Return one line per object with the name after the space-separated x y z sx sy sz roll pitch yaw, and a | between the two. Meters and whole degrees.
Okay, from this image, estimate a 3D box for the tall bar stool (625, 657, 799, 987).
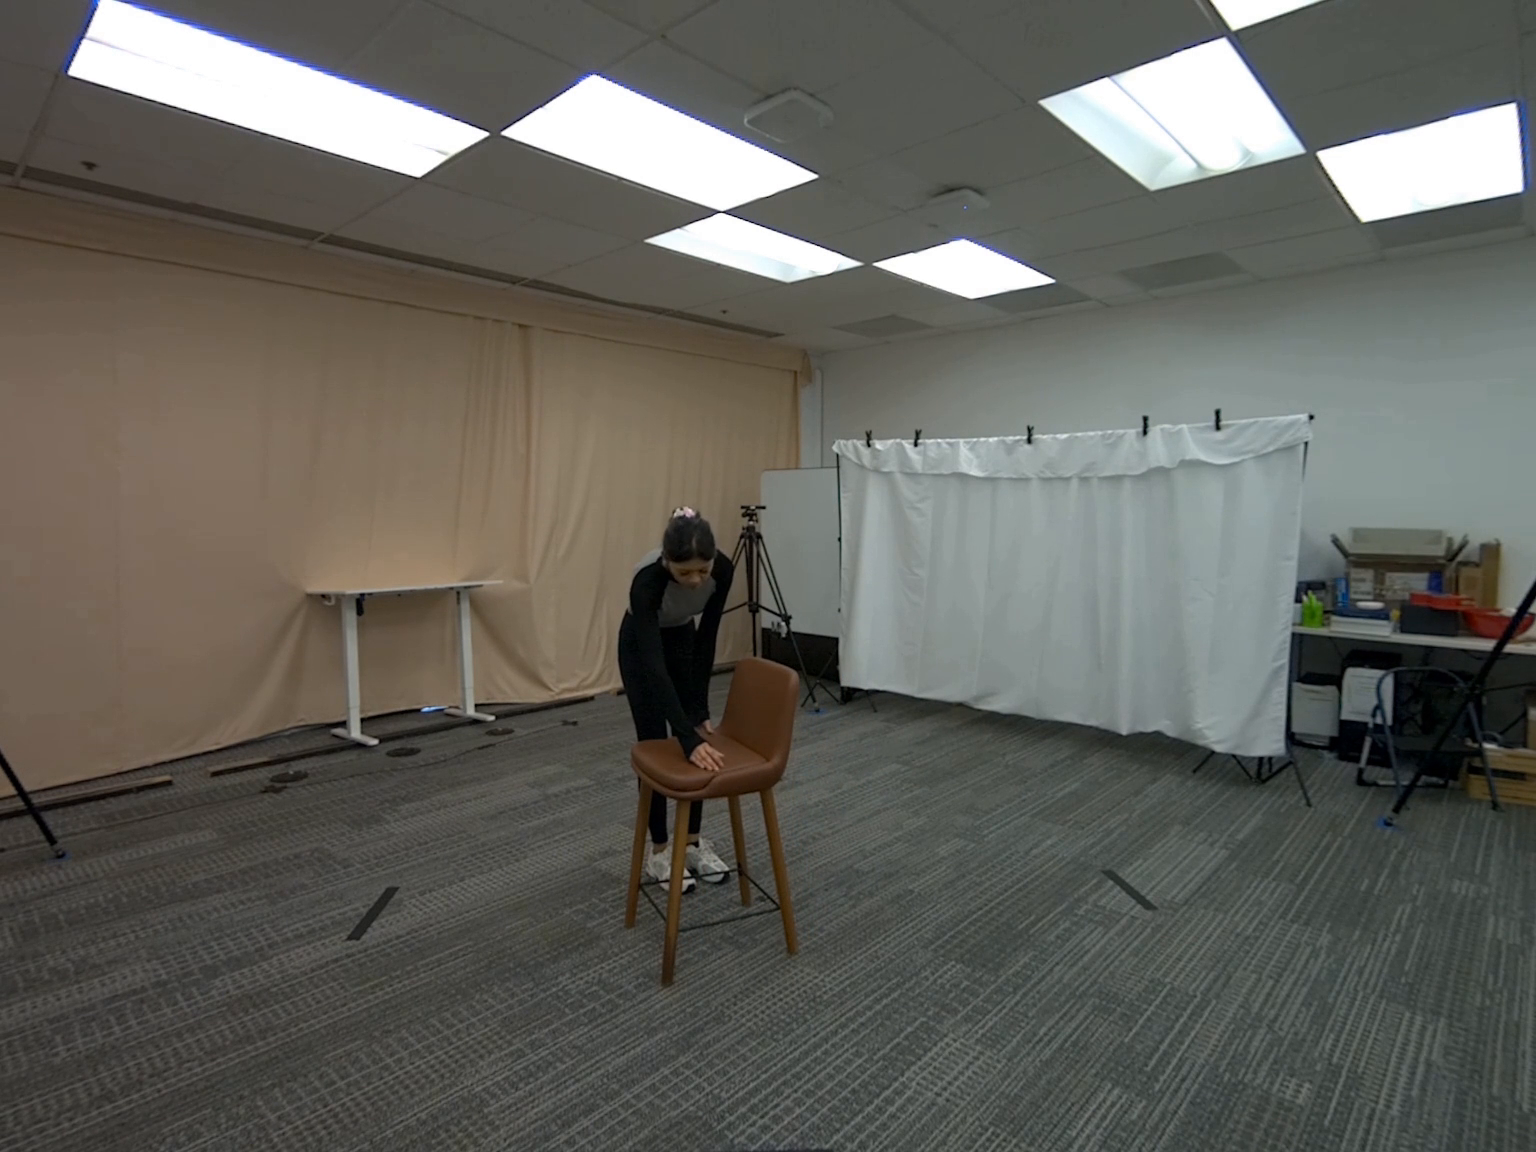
-0.180 0.733 2.682 0.456 0.888 0.468 0 3 -25 | tall bar stool
